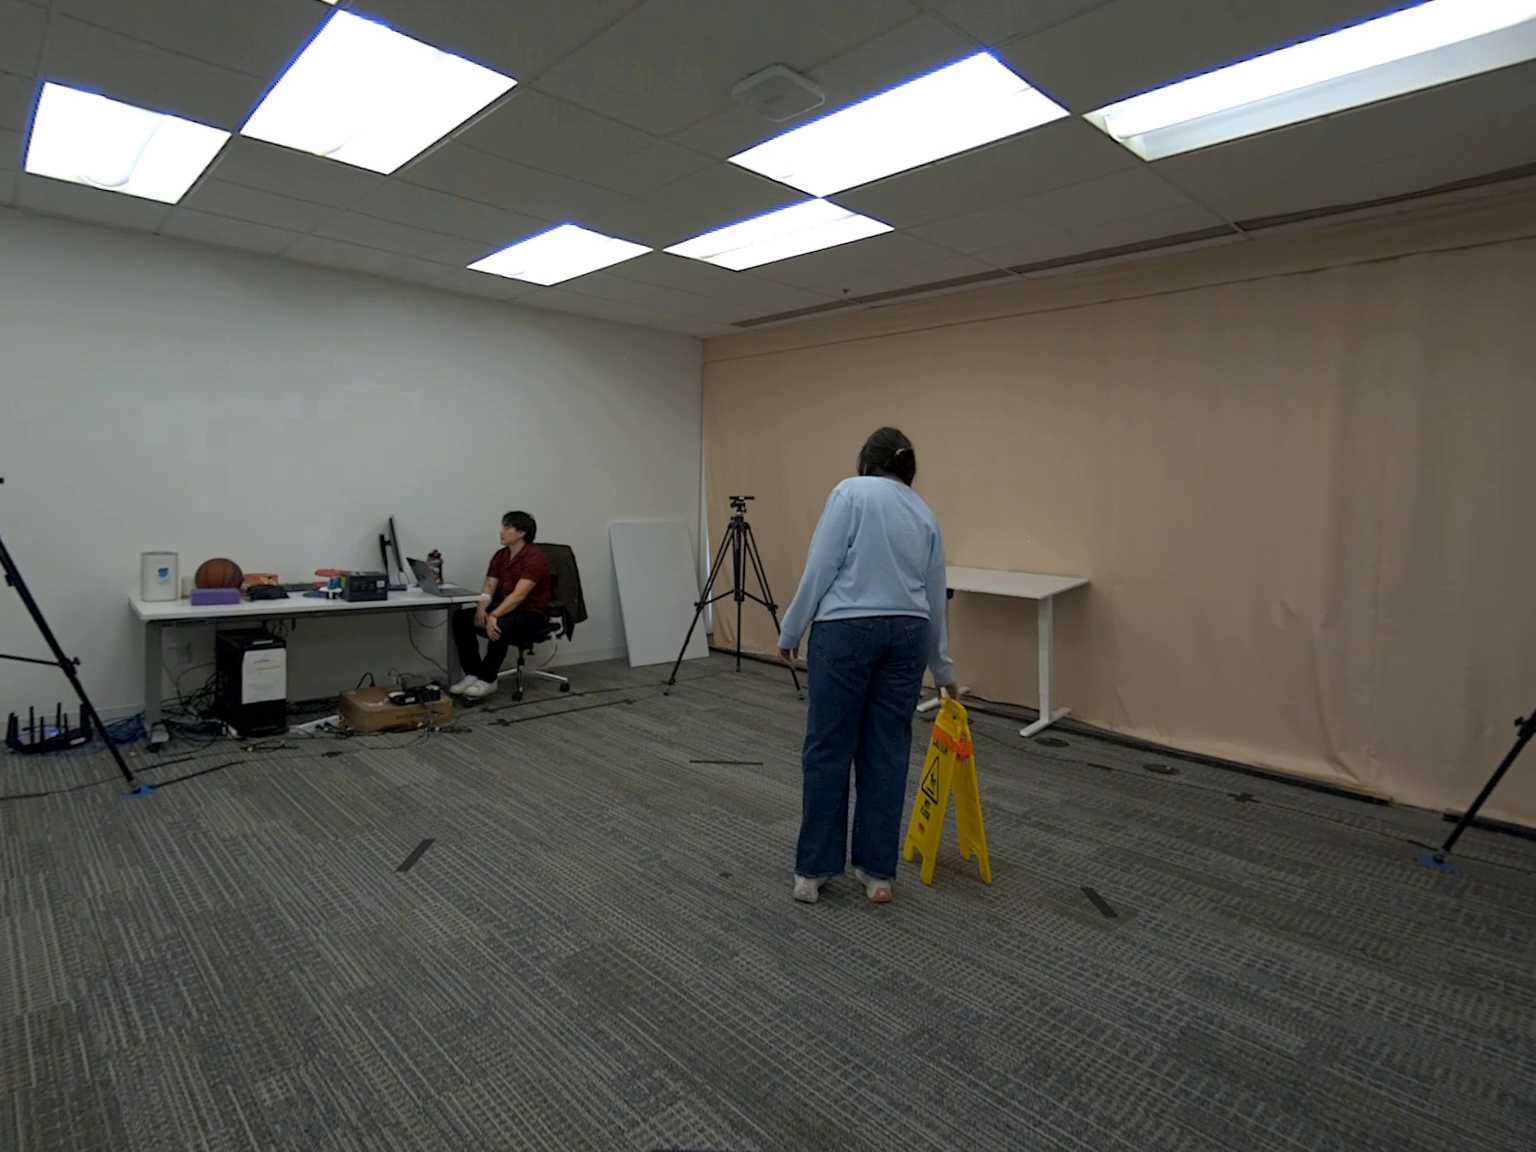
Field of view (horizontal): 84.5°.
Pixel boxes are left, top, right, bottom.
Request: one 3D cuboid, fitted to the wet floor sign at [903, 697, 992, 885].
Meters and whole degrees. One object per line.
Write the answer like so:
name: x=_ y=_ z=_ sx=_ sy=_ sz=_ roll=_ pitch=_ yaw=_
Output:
wet floor sign: x=0.679 y=0.790 z=3.185 sx=0.288 sy=0.645 sz=0.284 roll=1 pitch=1 yaw=-7
